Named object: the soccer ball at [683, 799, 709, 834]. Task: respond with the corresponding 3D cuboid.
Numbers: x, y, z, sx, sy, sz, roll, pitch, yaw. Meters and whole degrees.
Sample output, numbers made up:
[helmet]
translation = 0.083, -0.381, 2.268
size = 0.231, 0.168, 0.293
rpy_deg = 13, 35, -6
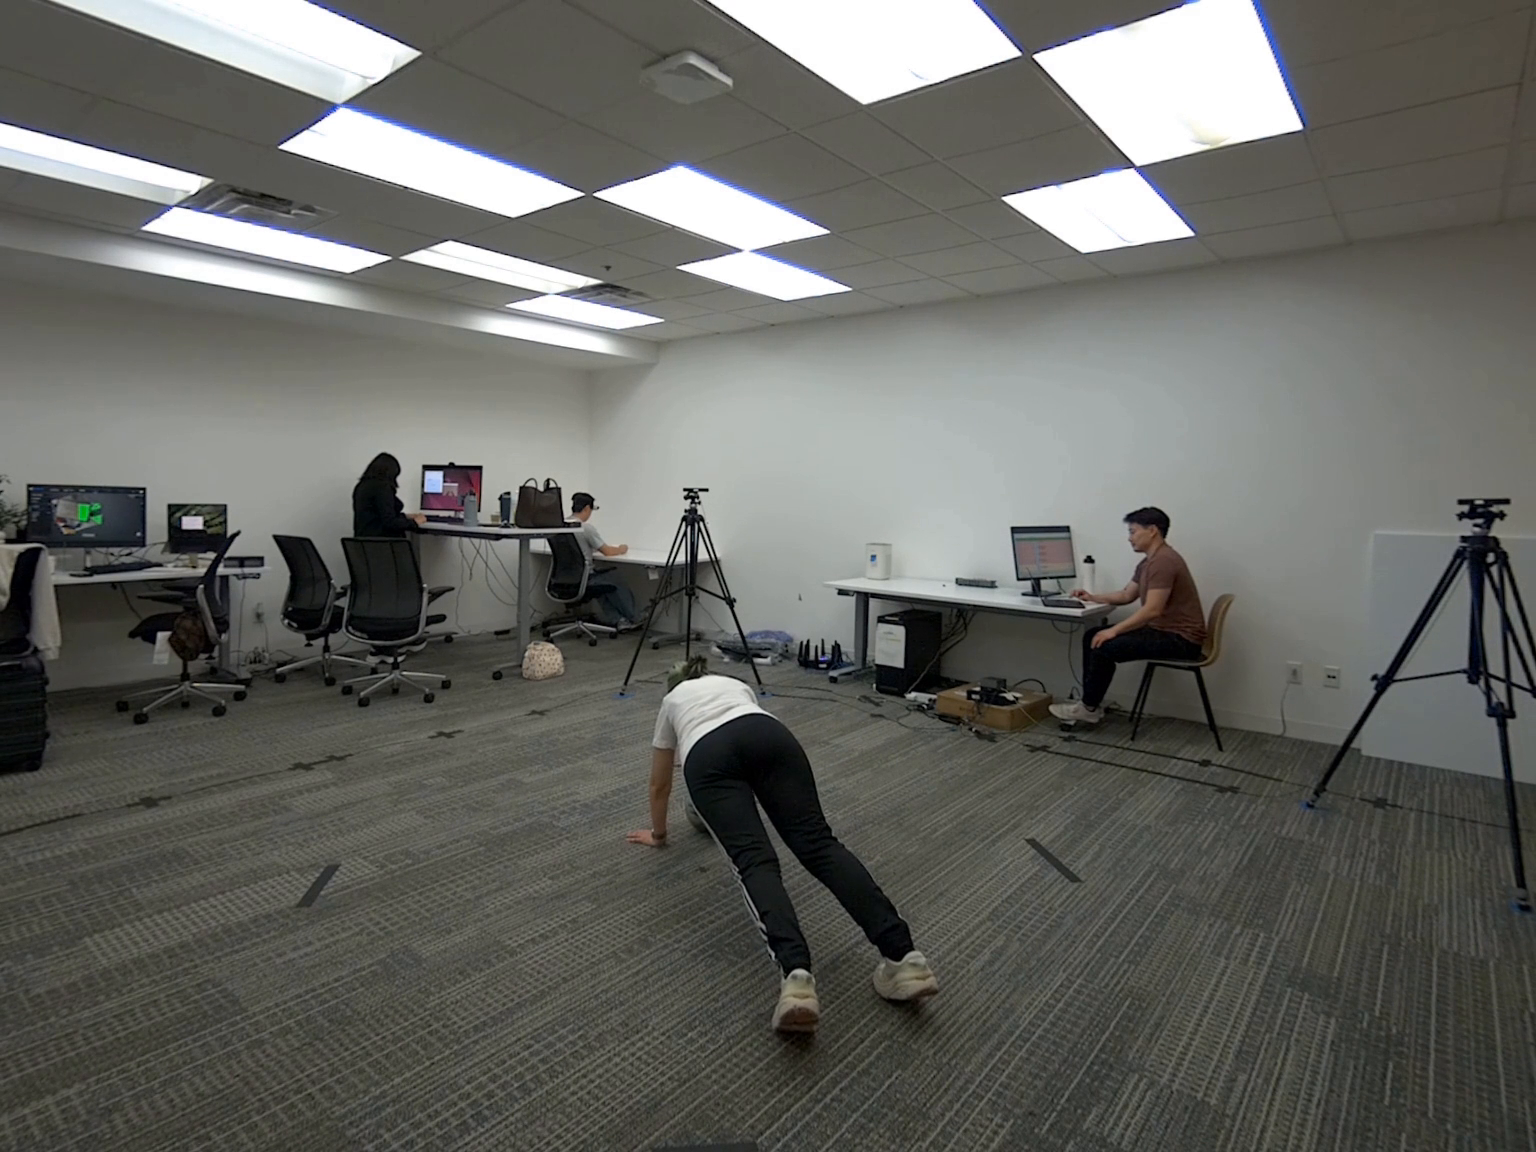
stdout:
[soccer ball]
translation = -0.251, 0.935, 3.463
size = 0.187, 0.187, 0.188
rpy_deg = 1, 4, -2
